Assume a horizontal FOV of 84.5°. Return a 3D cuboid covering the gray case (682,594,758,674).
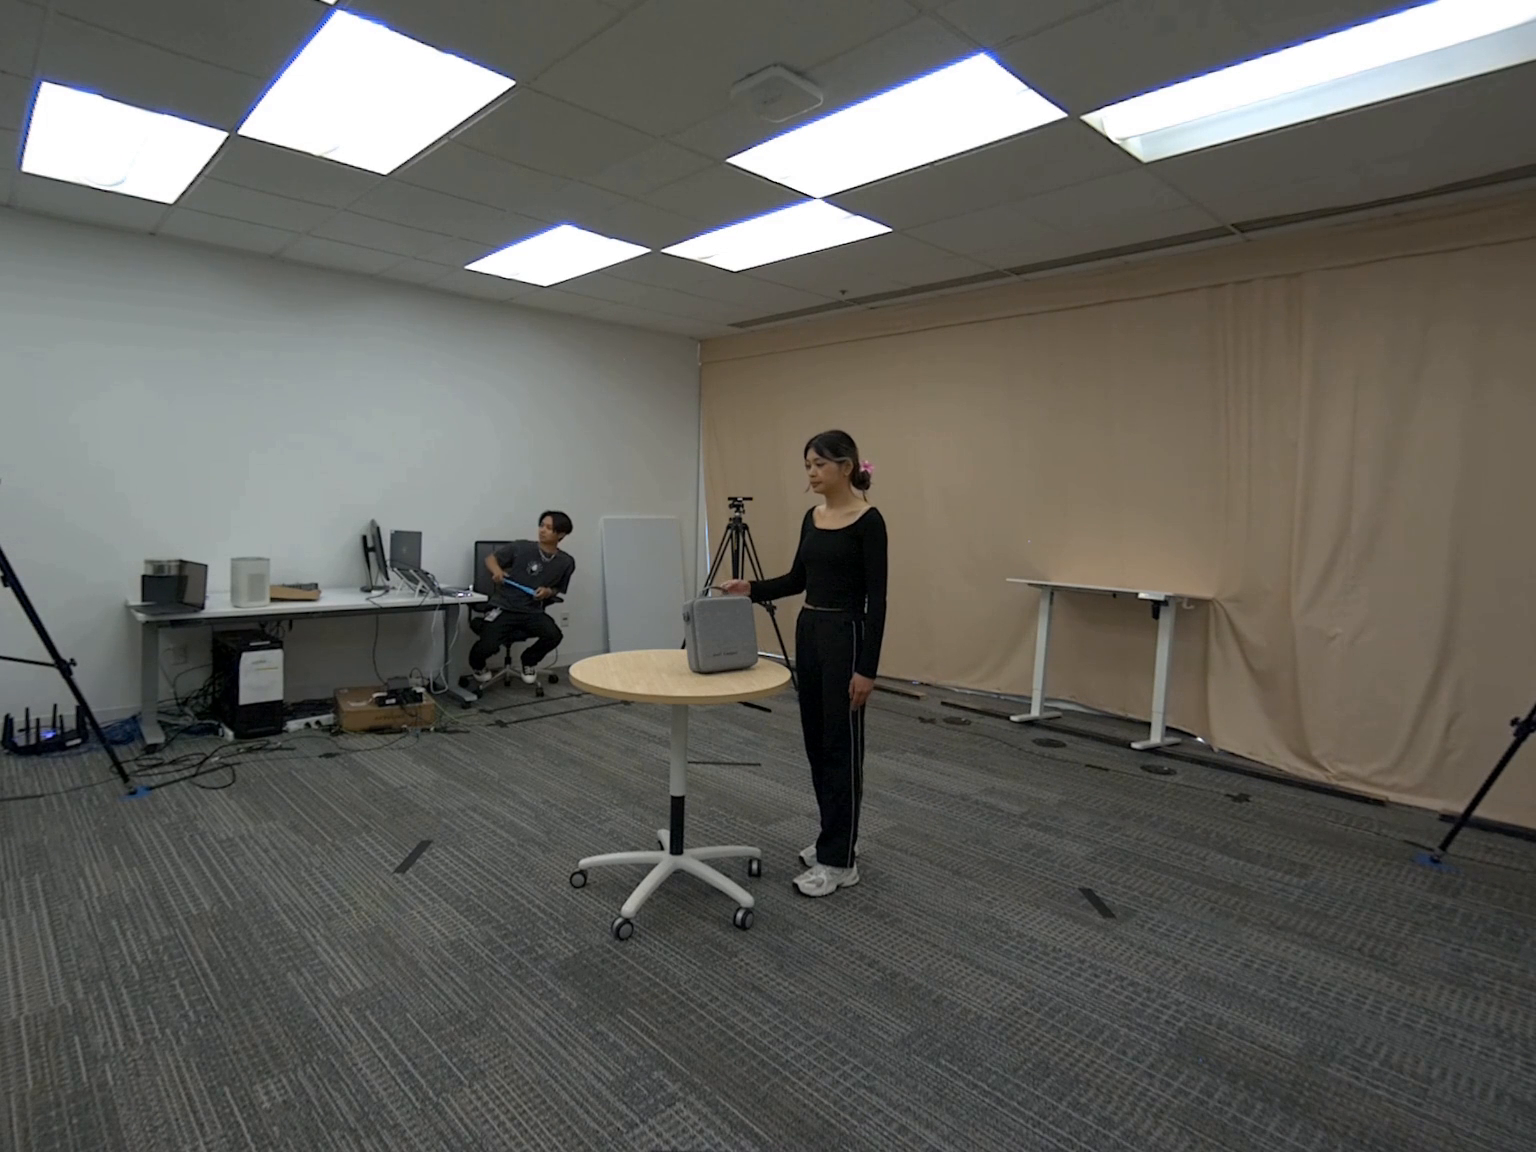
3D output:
[{"bbox_3d":[-0.174,0.199,2.945,0.251,0.262,0.106,-1,-9,-36],"label":"gray case"}]
